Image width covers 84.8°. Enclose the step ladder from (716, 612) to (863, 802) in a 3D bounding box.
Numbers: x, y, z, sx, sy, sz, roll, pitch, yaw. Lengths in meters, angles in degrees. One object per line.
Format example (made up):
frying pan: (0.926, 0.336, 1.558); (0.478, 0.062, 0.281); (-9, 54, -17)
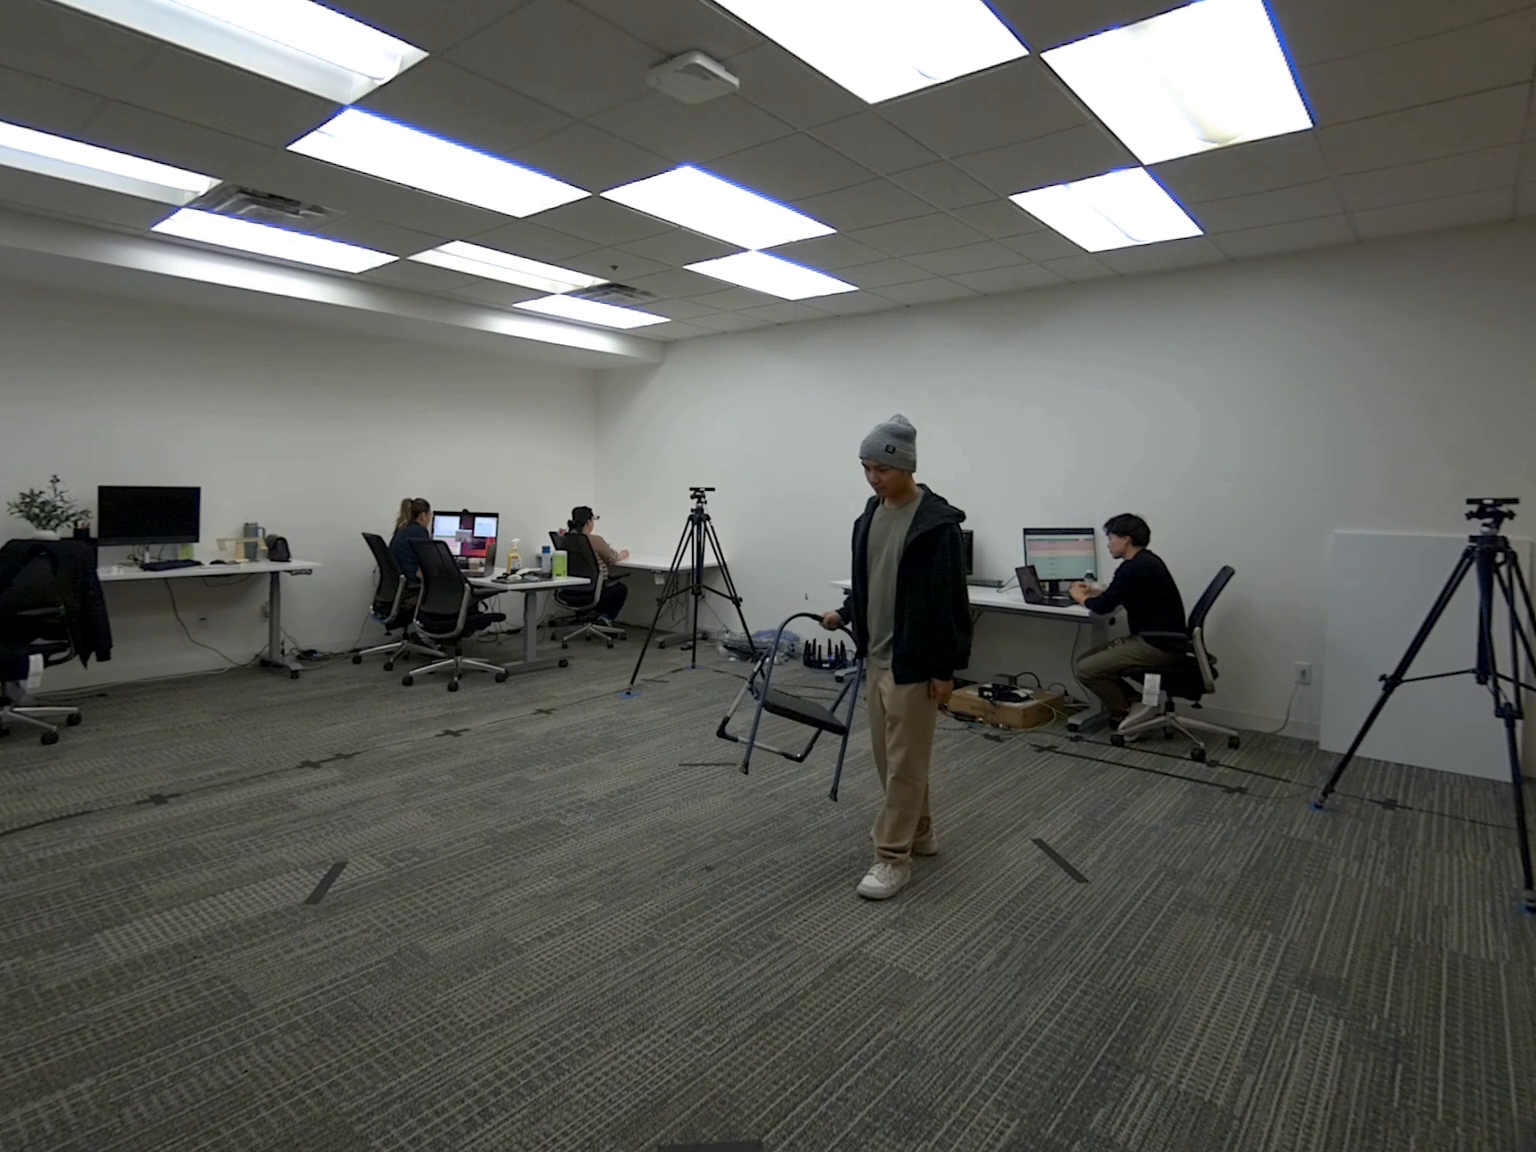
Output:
step ladder: (0.130, 0.457, 3.301); (0.419, 0.605, 0.360); (21, 3, -23)
